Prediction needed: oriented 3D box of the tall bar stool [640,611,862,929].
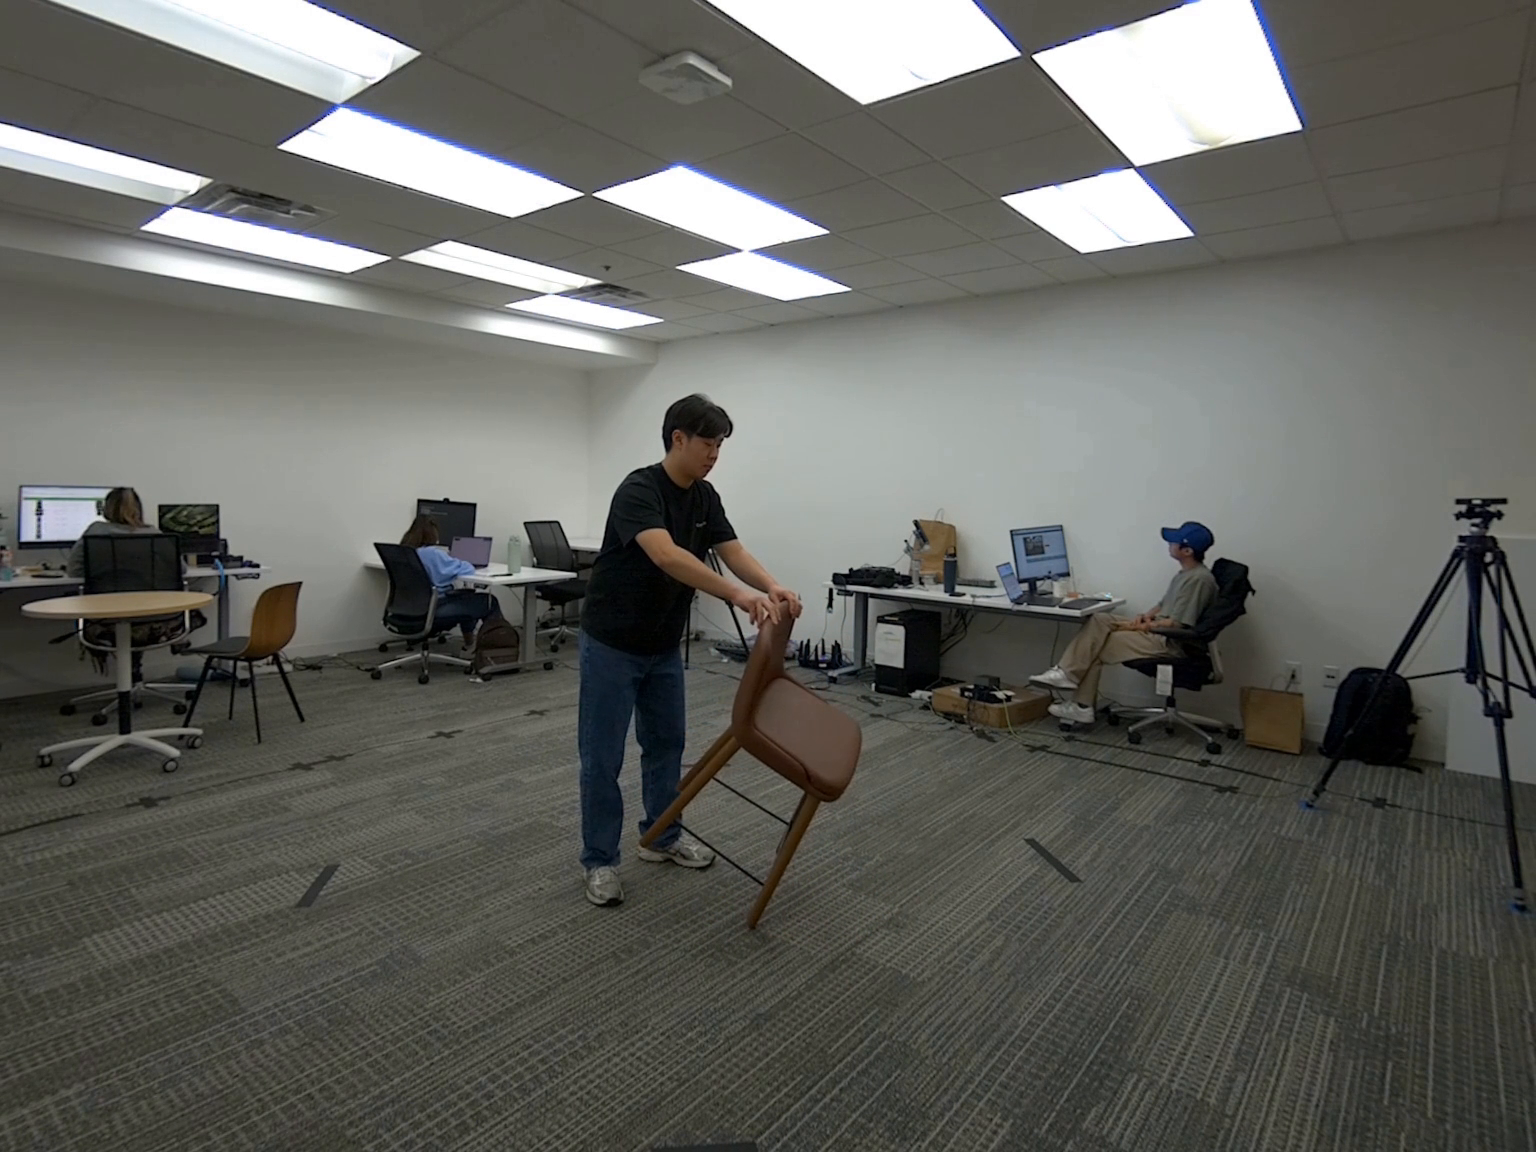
[{"bbox_3d":[0.011,0.592,2.743,0.473,0.883,0.455,31,21,7],"label":"tall bar stool"}]
